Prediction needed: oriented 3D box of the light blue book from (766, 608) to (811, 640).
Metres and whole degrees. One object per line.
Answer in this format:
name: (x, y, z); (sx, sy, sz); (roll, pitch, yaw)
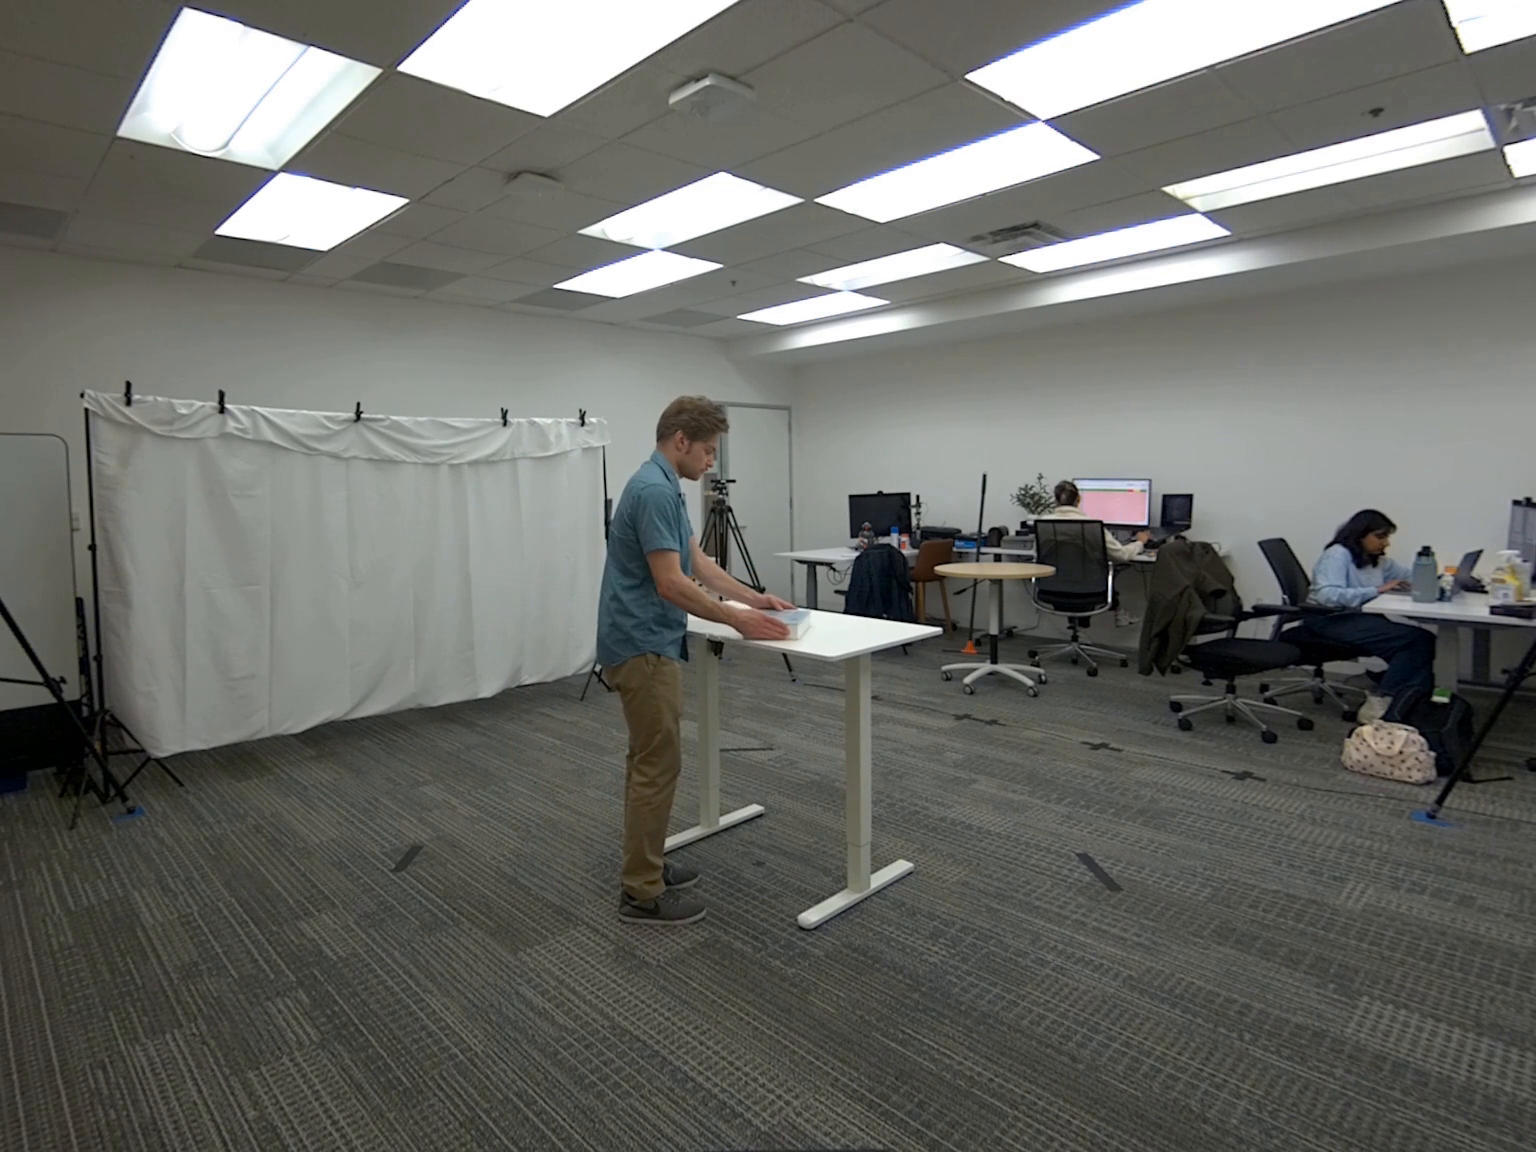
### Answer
light blue book: (0.022, 0.167, 2.878); (0.193, 0.059, 0.259); (0, 7, 10)
